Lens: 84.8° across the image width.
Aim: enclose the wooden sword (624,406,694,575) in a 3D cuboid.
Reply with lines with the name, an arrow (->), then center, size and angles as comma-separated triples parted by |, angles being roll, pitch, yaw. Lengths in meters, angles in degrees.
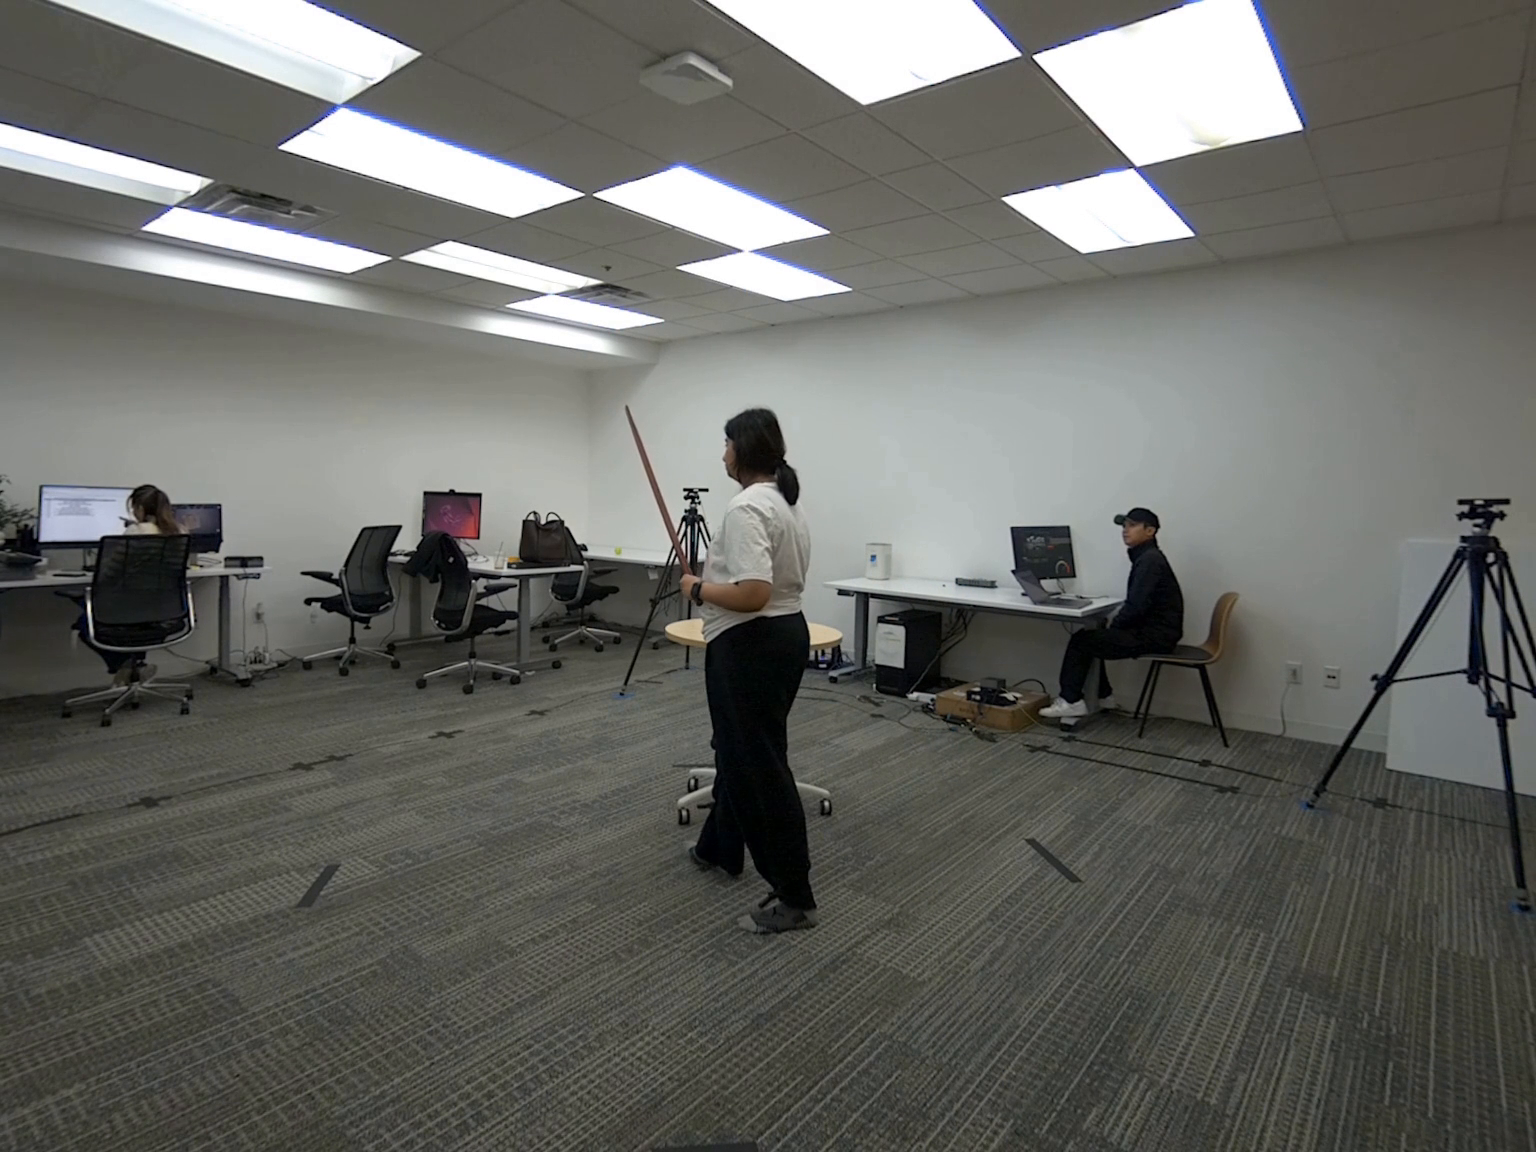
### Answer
wooden sword -> -0.409, -0.299, 3.070 | 0.049, 1.064, 0.024 | 13, -50, -39
